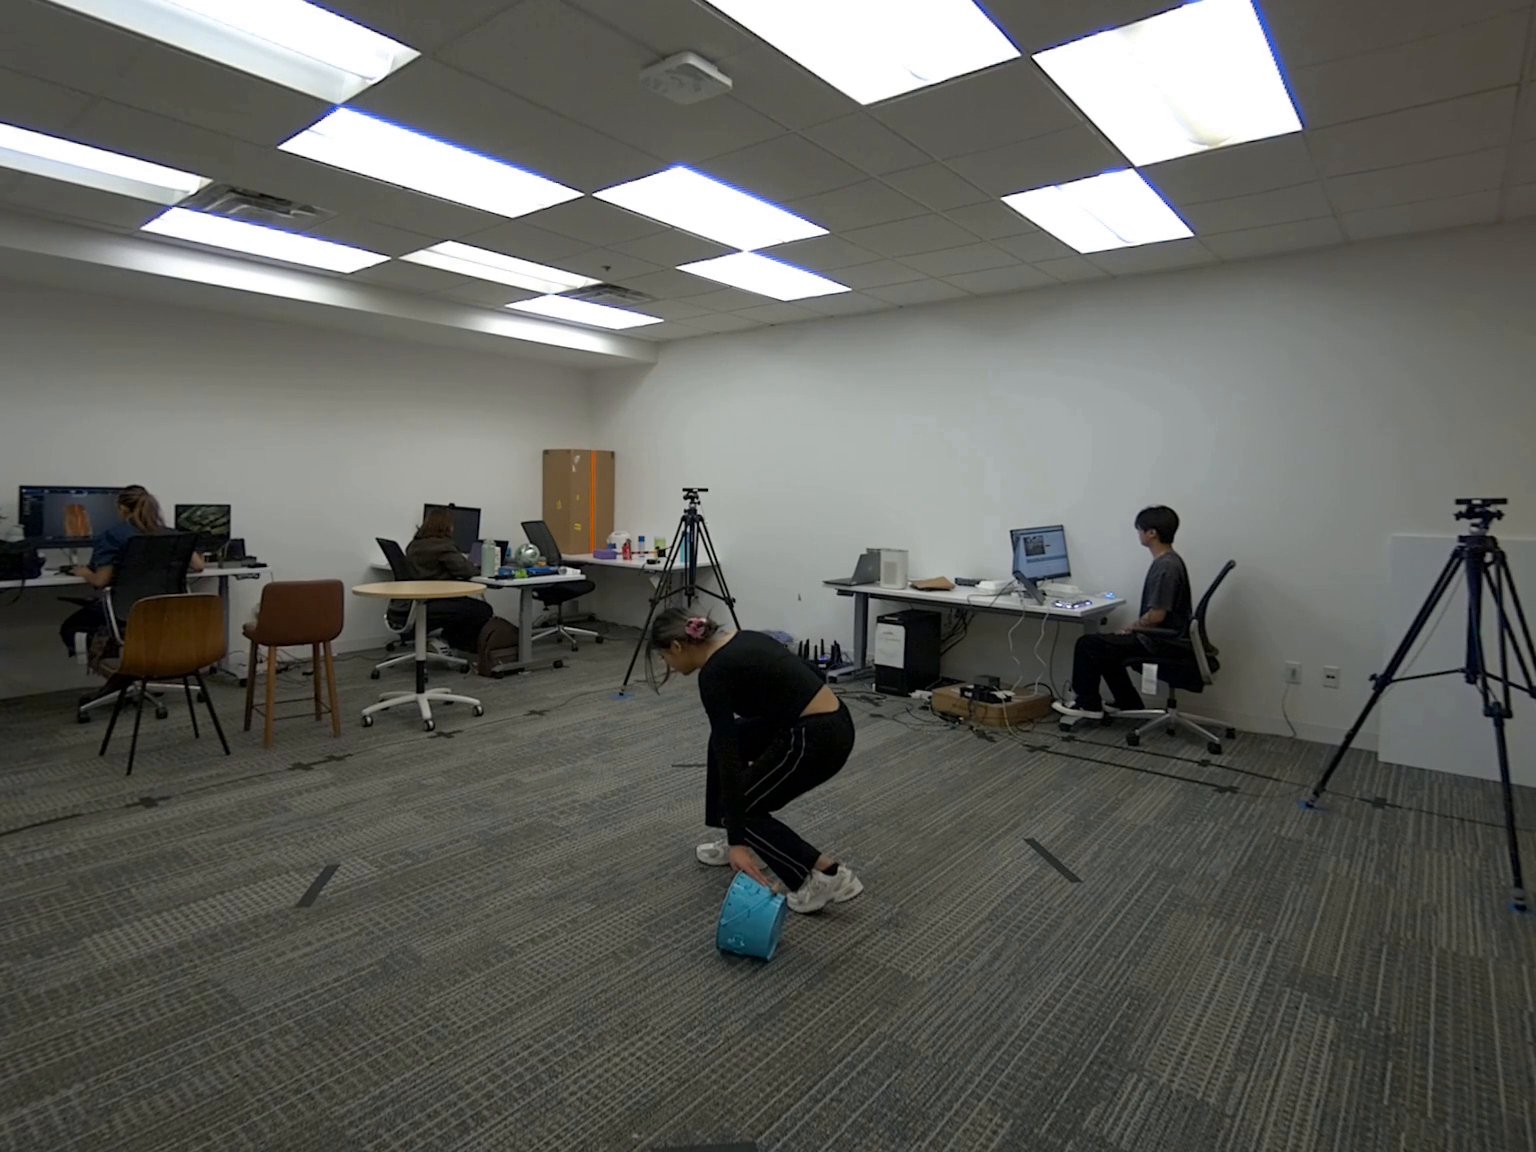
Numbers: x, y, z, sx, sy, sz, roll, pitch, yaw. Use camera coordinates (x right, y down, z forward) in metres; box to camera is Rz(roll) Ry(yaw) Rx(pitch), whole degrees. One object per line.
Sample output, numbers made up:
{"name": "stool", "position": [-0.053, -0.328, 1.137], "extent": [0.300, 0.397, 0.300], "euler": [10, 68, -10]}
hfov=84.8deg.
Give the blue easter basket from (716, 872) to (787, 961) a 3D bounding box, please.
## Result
{"name": "blue easter basket", "position": [-0.064, 1.014, 2.555], "extent": [0.159, 0.242, 0.239], "euler": [12, 7, 17]}
